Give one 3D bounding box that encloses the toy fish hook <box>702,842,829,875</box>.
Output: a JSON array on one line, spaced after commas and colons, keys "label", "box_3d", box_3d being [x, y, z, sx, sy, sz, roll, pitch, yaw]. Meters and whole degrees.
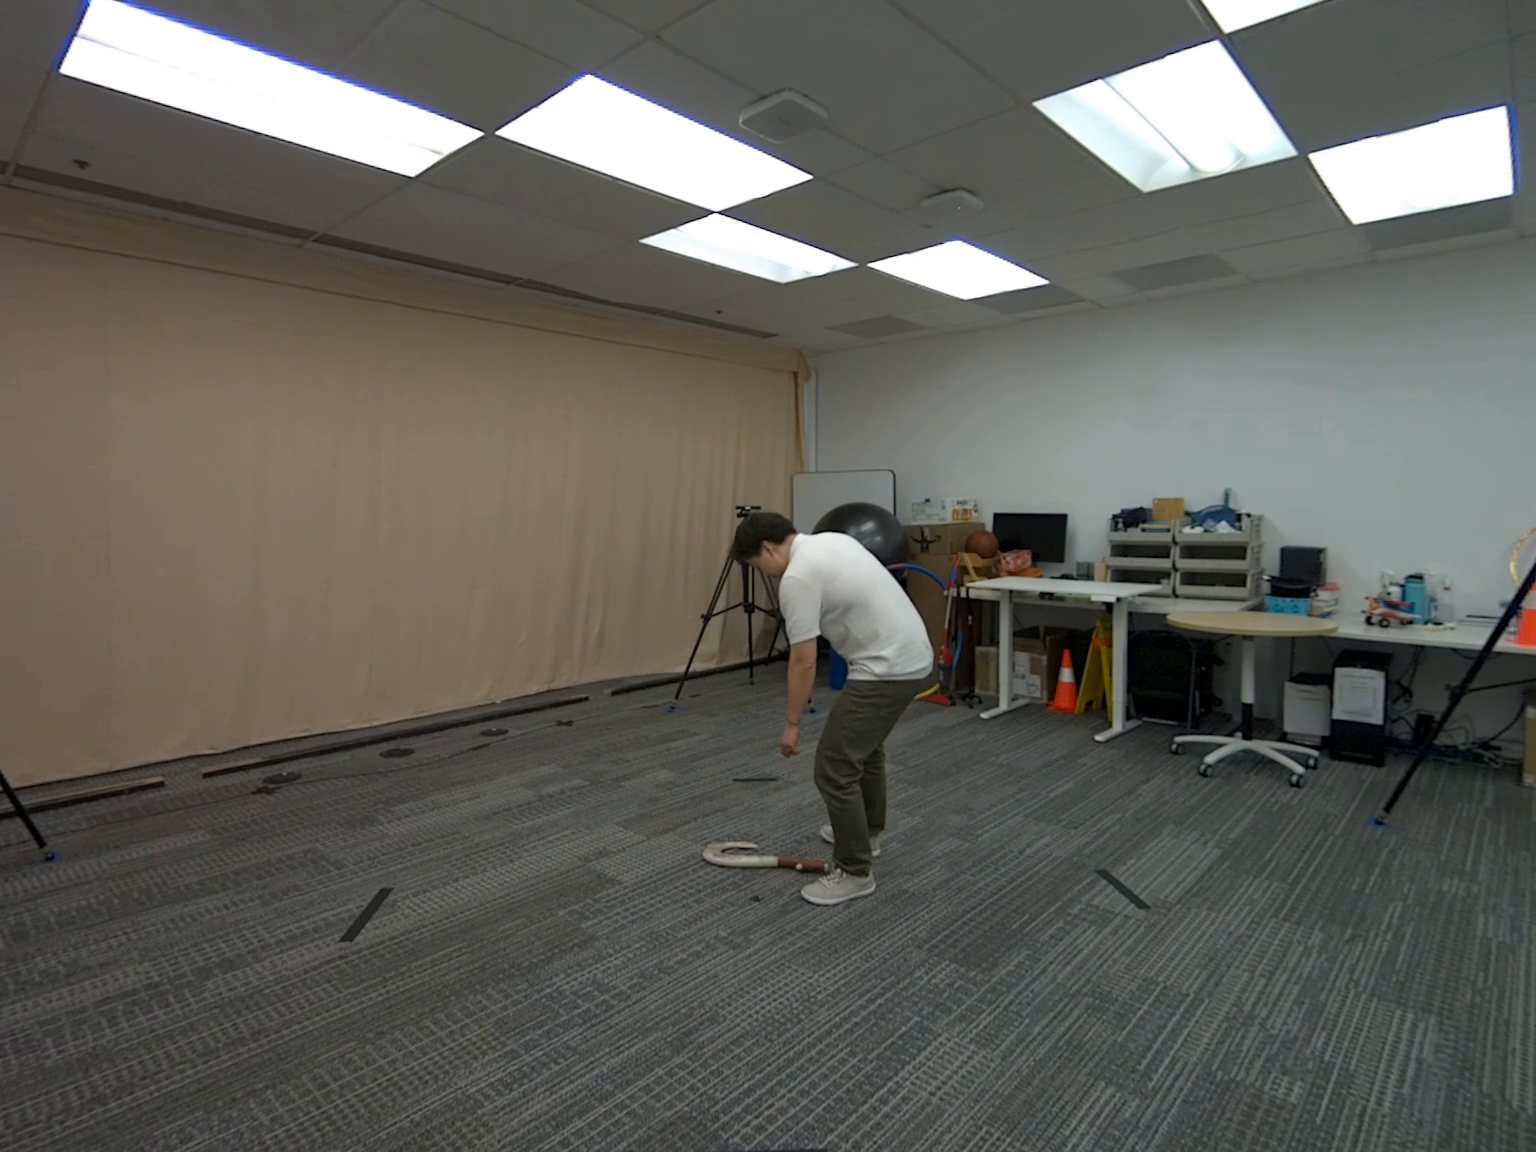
[{"label": "toy fish hook", "box_3d": [-0.001, 1.096, 3.299, 0.515, 0.048, 0.222, 1, 7, 15]}]
